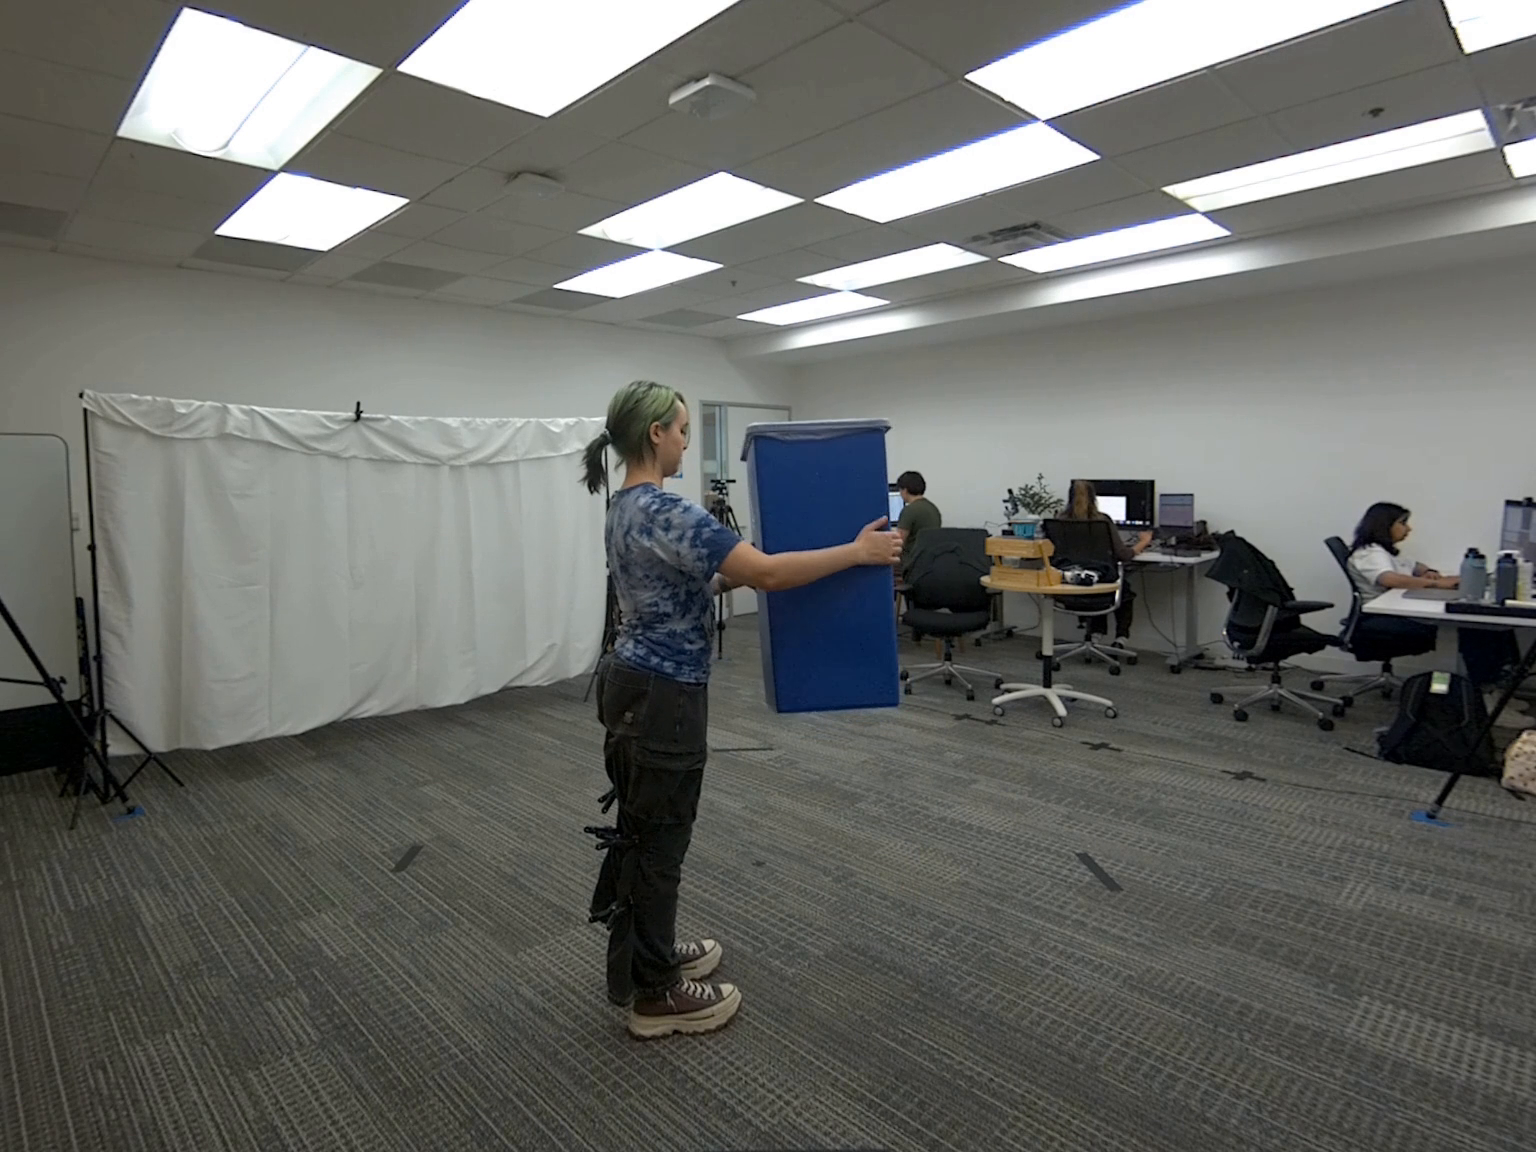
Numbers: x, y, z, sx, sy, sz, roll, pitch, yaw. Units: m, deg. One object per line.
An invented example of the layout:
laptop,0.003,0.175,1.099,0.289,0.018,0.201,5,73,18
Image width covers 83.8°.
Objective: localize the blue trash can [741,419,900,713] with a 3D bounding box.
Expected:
blue trash can,0.142,-0.020,2.246,0.377,0.719,0.373,-3,-7,-5
